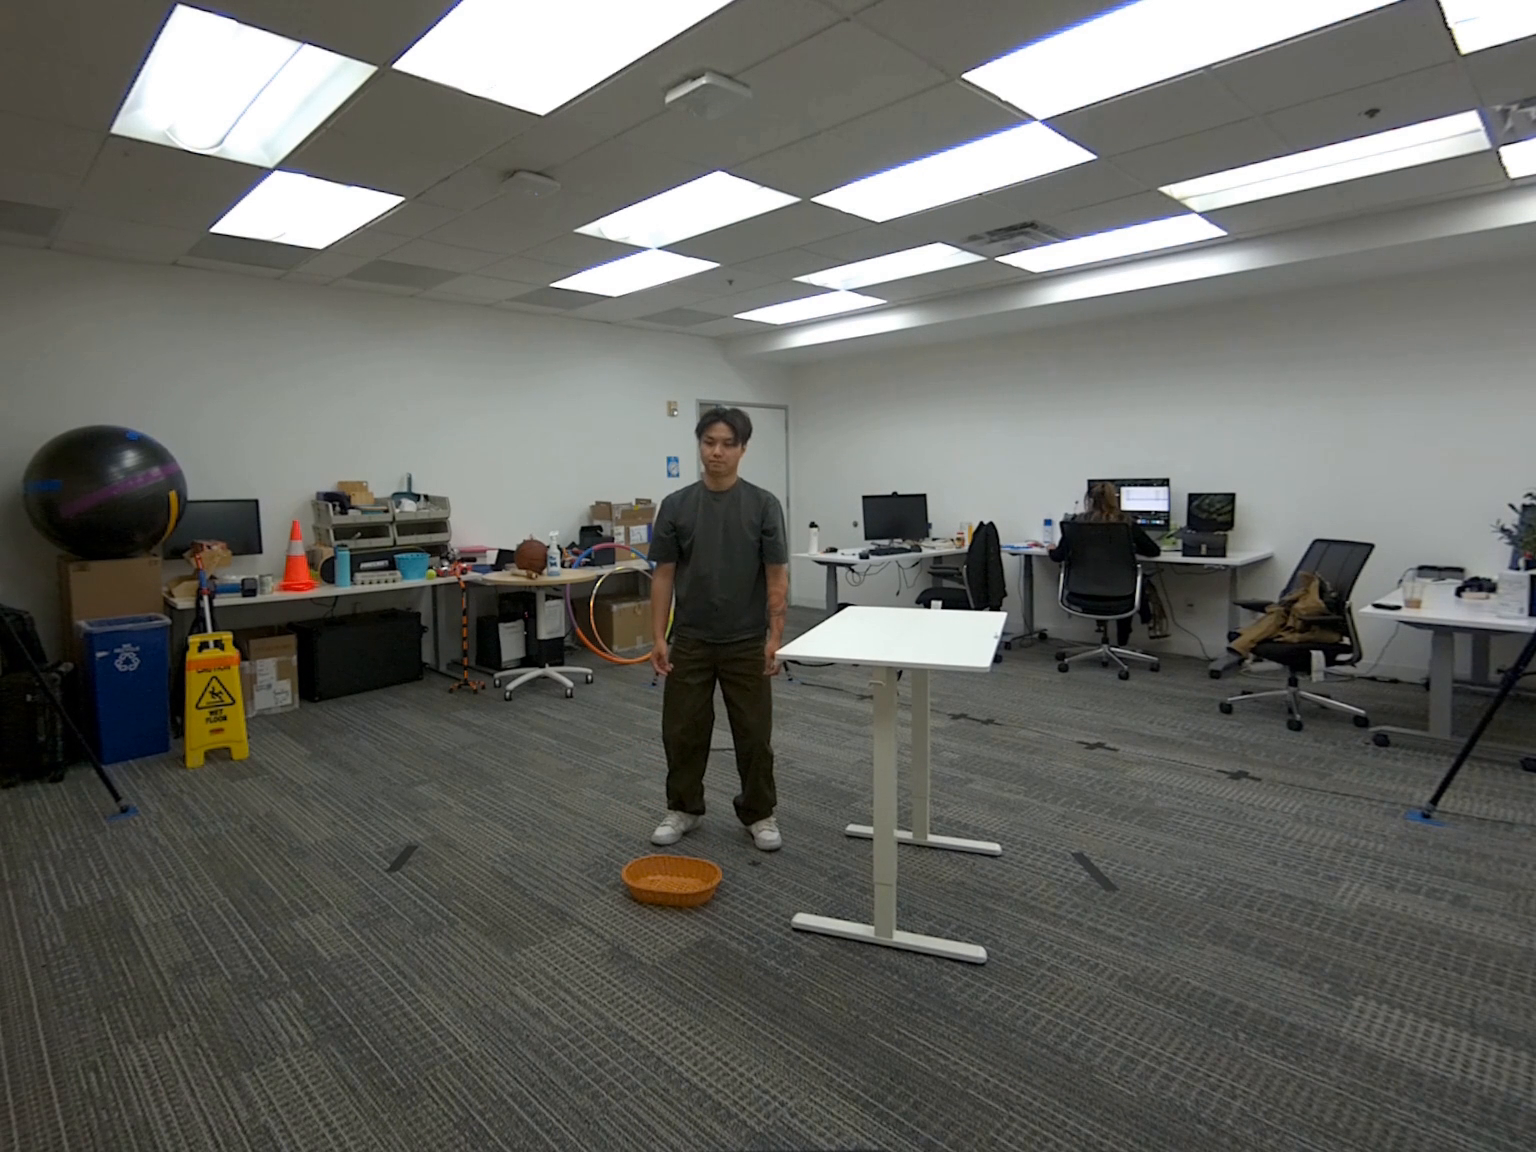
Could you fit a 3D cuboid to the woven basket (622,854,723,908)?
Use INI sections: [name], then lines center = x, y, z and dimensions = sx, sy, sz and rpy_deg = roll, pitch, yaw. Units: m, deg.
[woven basket]
center = -0.325, 1.039, 2.894
dimensions = 0.357, 0.073, 0.249
rpy_deg = 1, 7, 18
